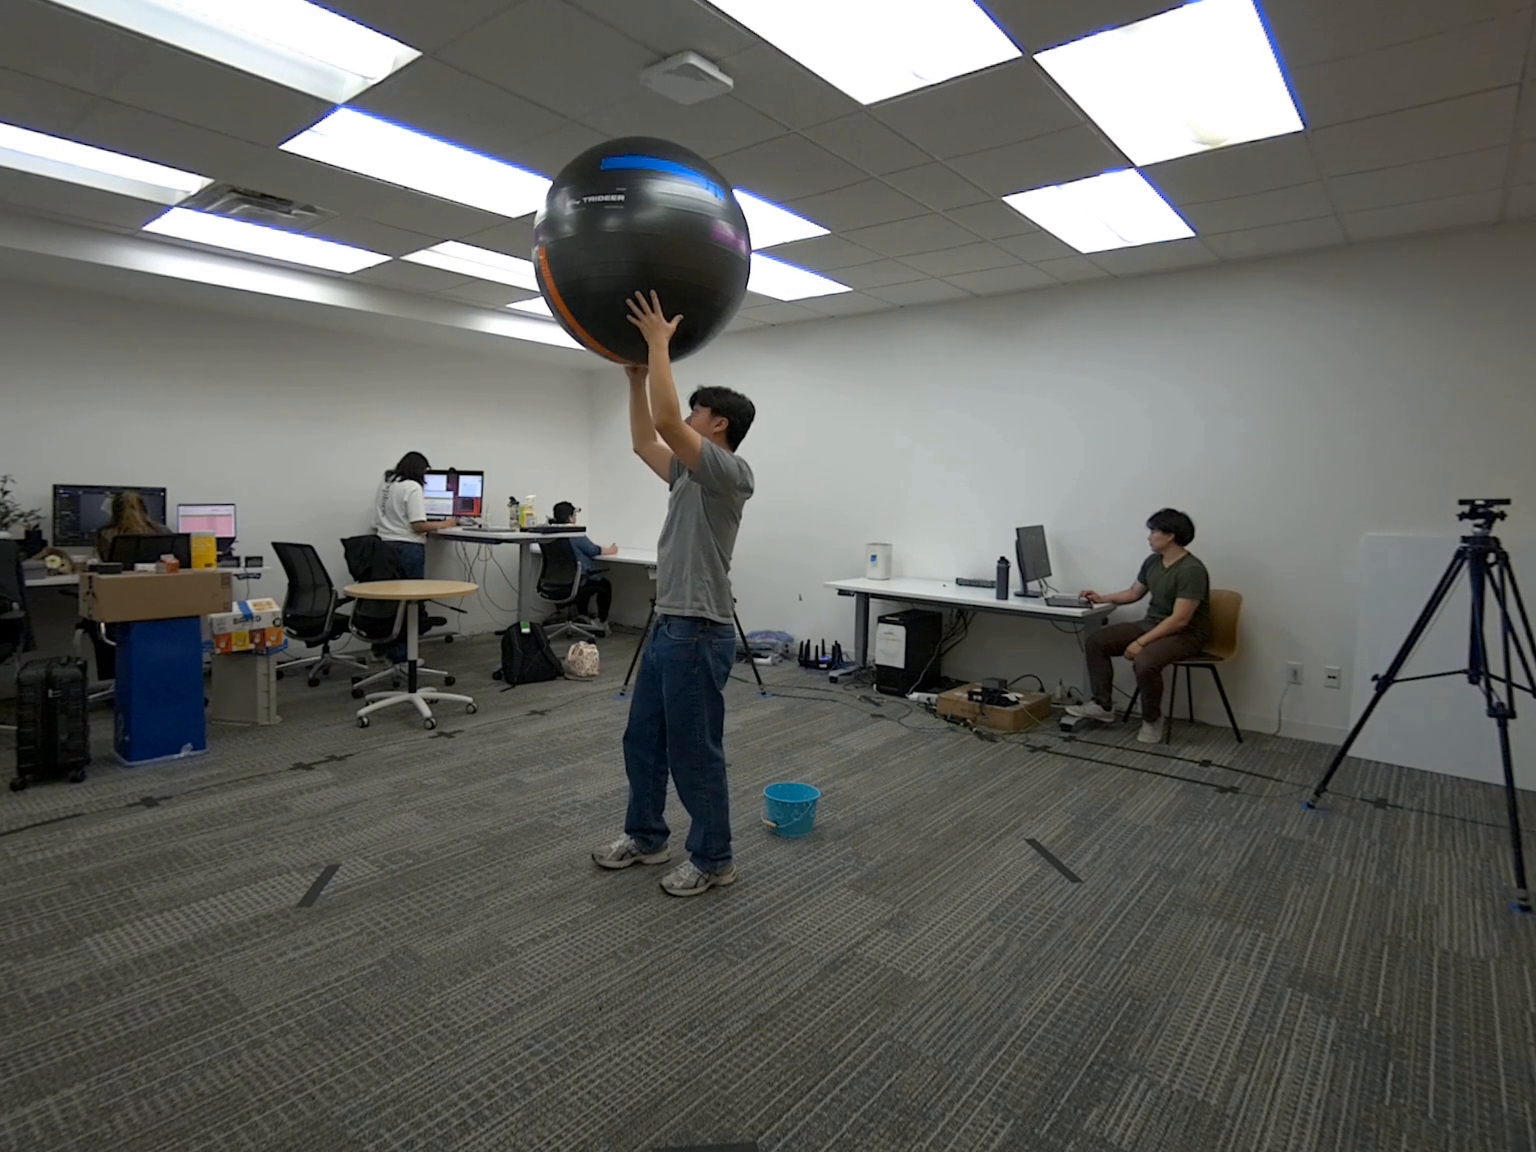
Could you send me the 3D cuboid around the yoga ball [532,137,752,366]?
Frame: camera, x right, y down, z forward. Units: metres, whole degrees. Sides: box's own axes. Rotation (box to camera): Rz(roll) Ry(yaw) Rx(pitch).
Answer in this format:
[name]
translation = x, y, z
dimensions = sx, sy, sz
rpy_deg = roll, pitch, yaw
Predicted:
[yoga ball]
translation = -0.458, -1.119, 2.963
dimensions = 0.757, 0.756, 0.761
rpy_deg = 1, 4, -2
